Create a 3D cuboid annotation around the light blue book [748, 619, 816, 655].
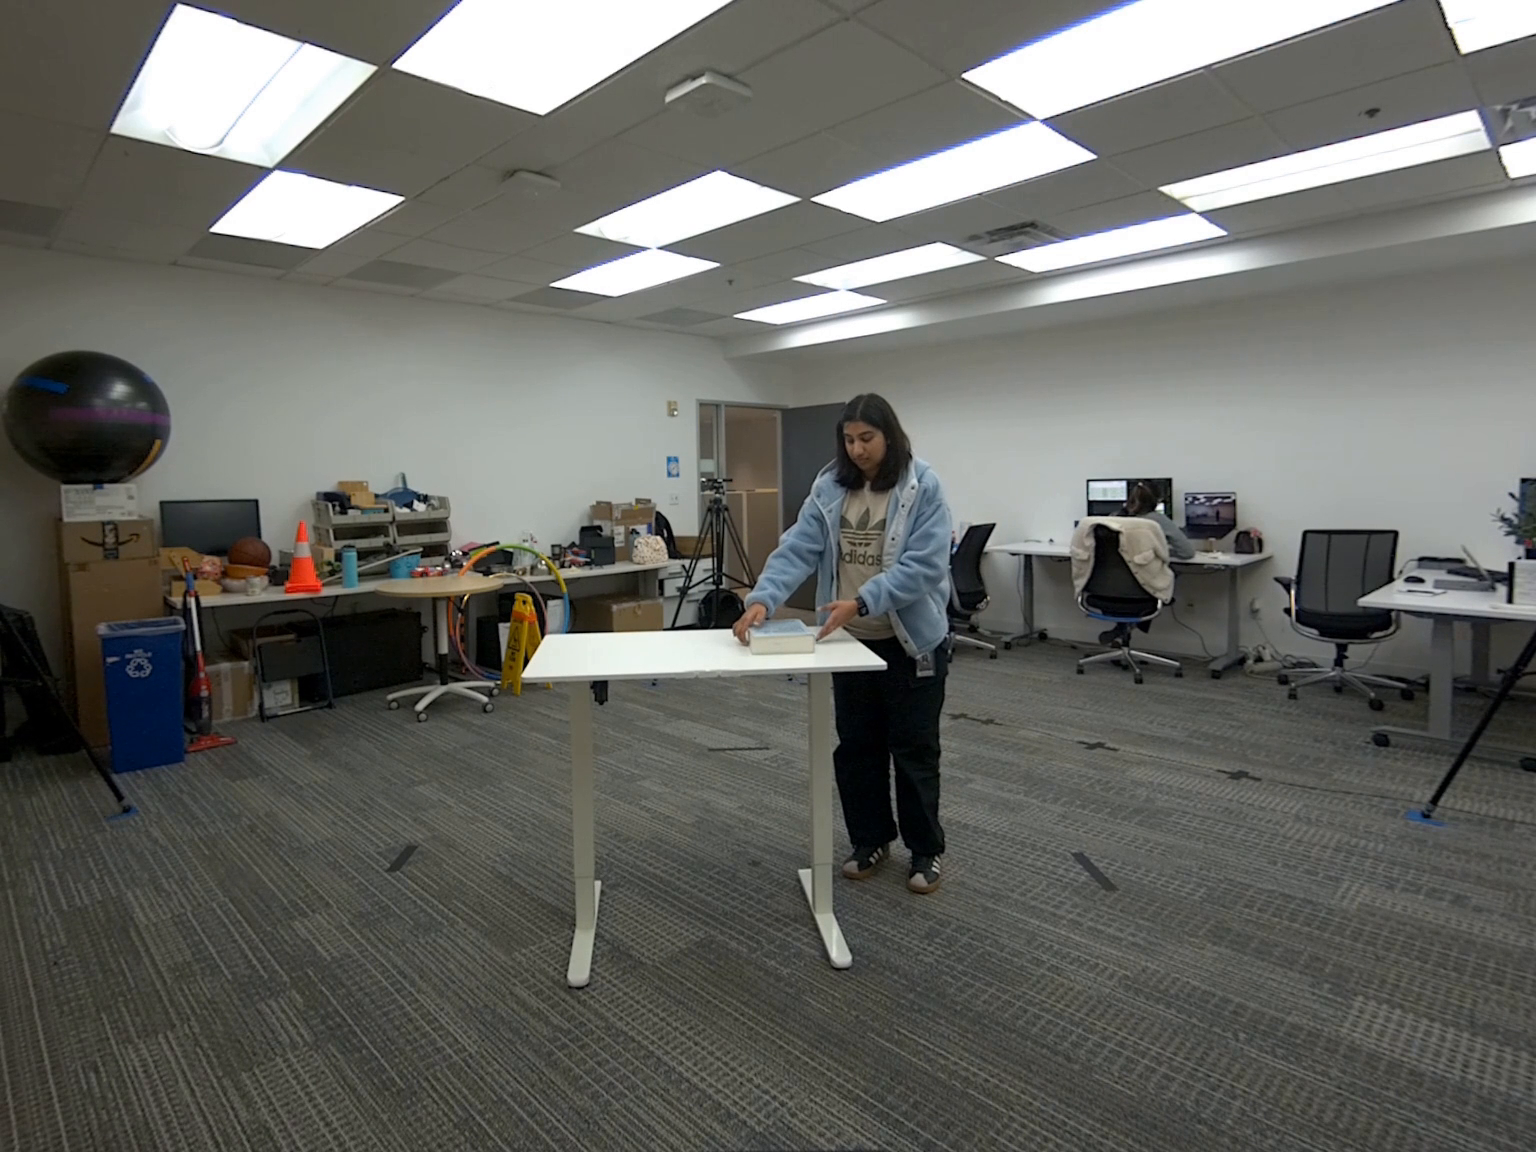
[{"bbox_3d":[0.034,0.182,2.642,0.191,0.059,0.262,-1,5,-3],"label":"light blue book"}]
